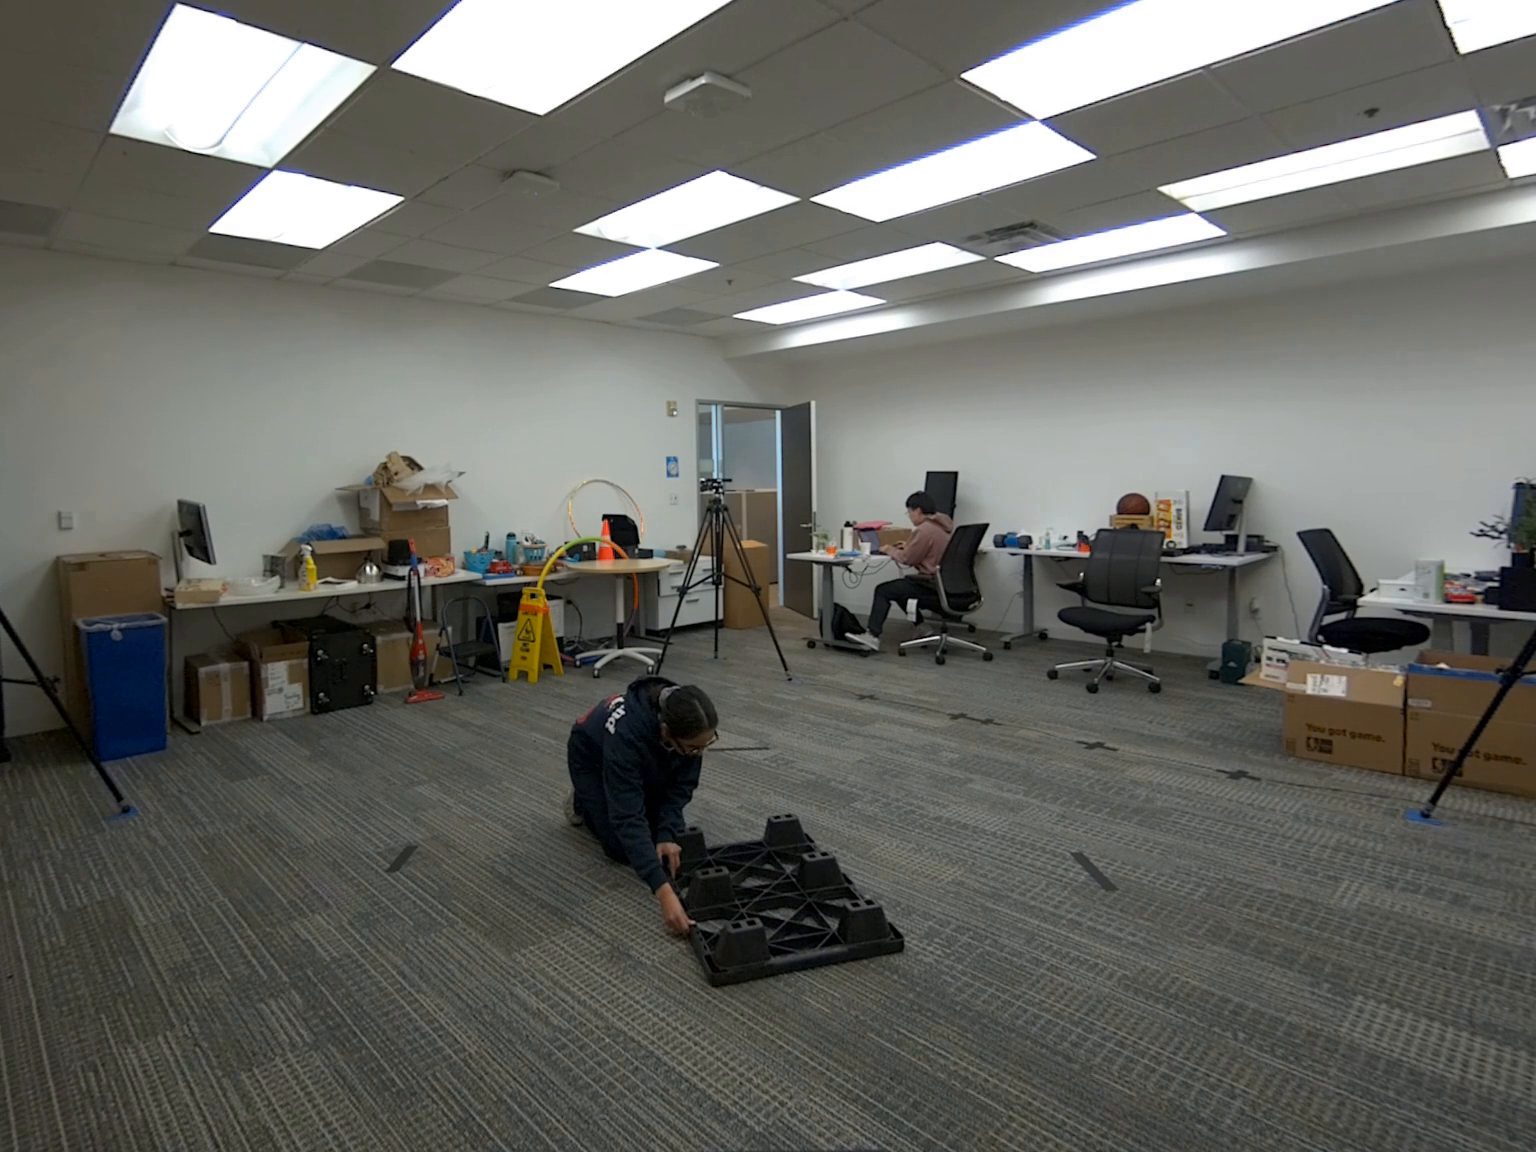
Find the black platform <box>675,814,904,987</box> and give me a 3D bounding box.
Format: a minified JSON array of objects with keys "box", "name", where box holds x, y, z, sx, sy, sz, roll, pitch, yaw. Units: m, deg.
[{"box":[-0.008,1.010,2.802,0.595,0.142,0.823,-3,7,-19],"name":"black platform"}]
